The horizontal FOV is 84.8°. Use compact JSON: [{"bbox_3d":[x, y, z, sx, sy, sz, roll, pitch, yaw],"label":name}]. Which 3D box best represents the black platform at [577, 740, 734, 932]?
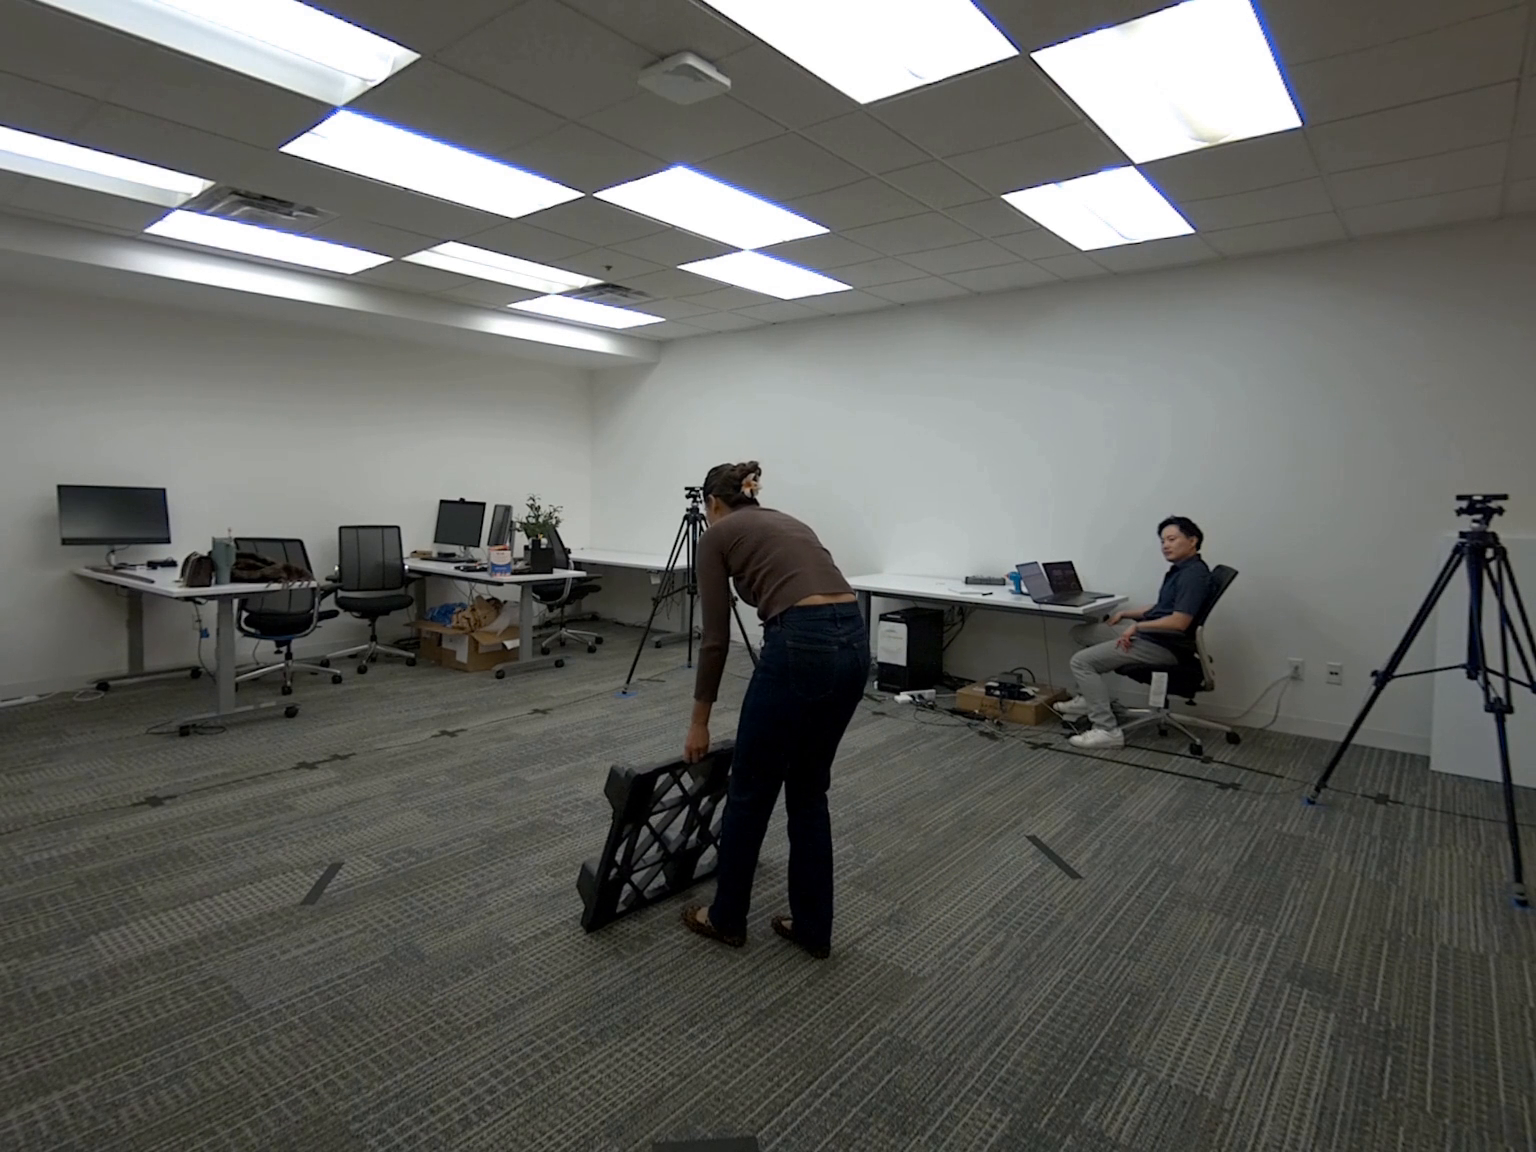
[{"bbox_3d":[-0.268,0.785,2.862,0.149,0.599,0.781,33,24,36],"label":"black platform"}]
